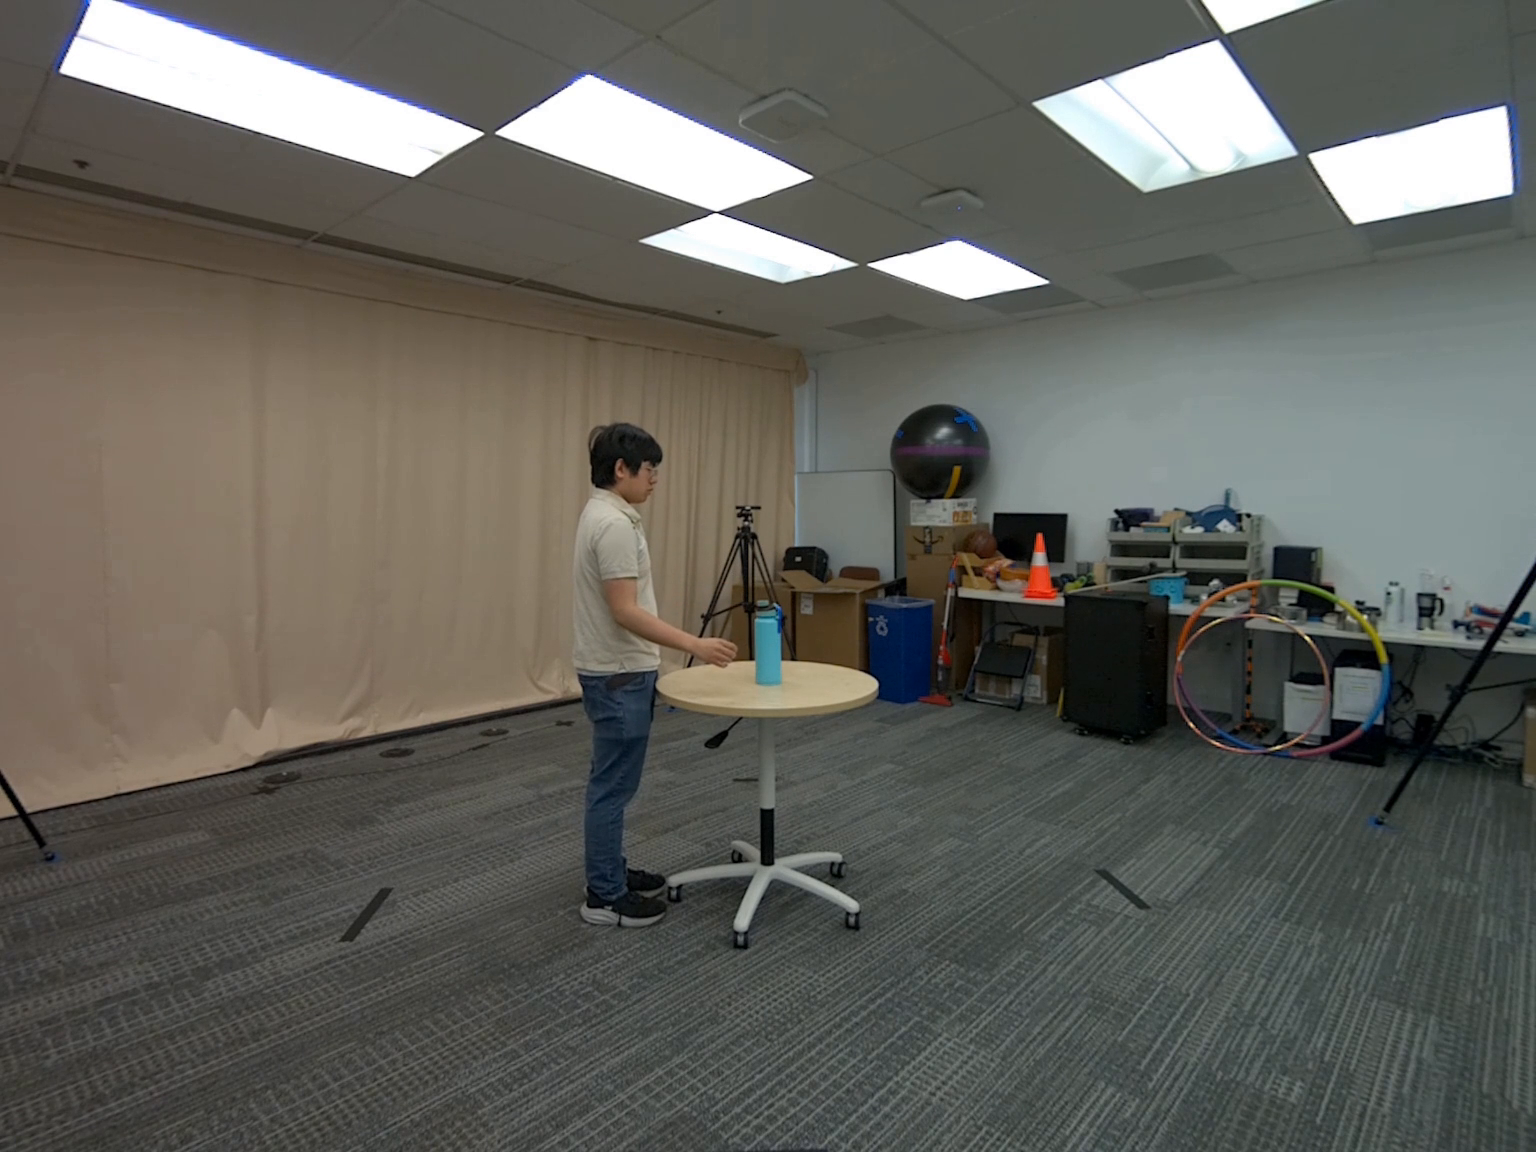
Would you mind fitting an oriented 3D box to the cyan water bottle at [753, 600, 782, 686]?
[{"bbox_3d":[0.005,0.228,2.889,0.092,0.283,0.092,0,4,-2],"label":"cyan water bottle"}]
